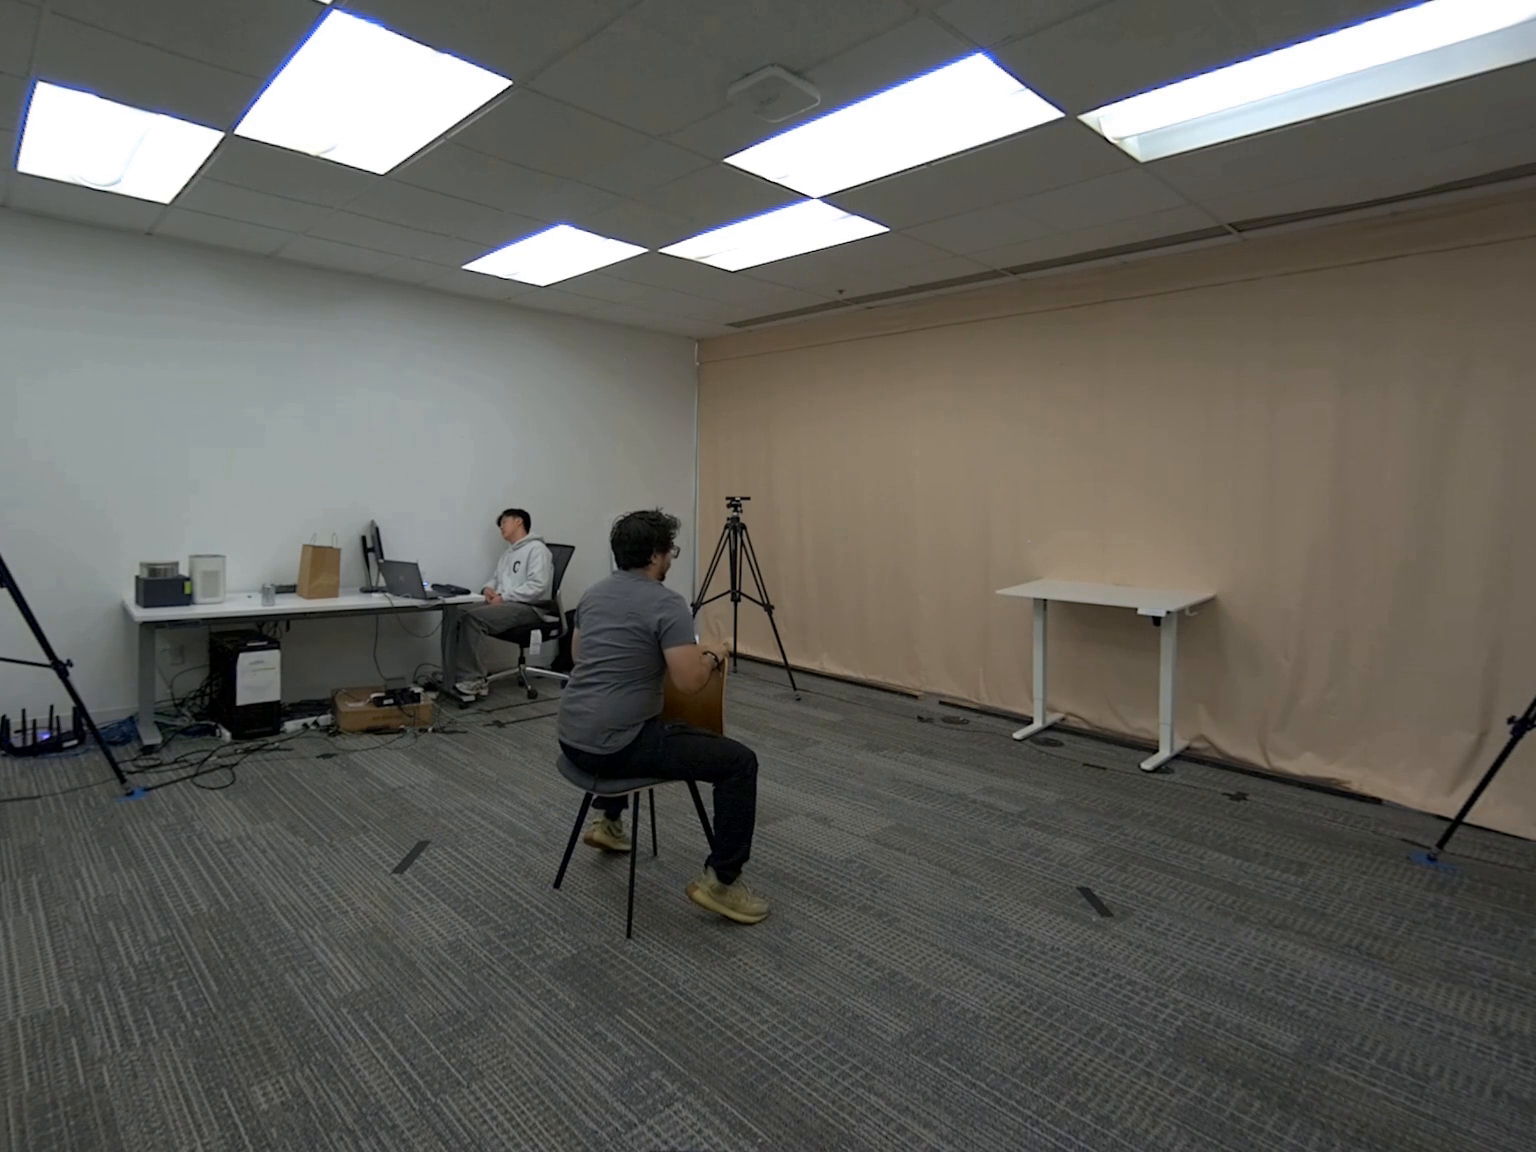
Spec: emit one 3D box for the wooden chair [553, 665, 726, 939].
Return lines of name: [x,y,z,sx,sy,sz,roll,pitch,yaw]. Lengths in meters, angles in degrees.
wooden chair: [-0.439,0.692,2.924,0.510,0.877,0.490,3,1,-44]
